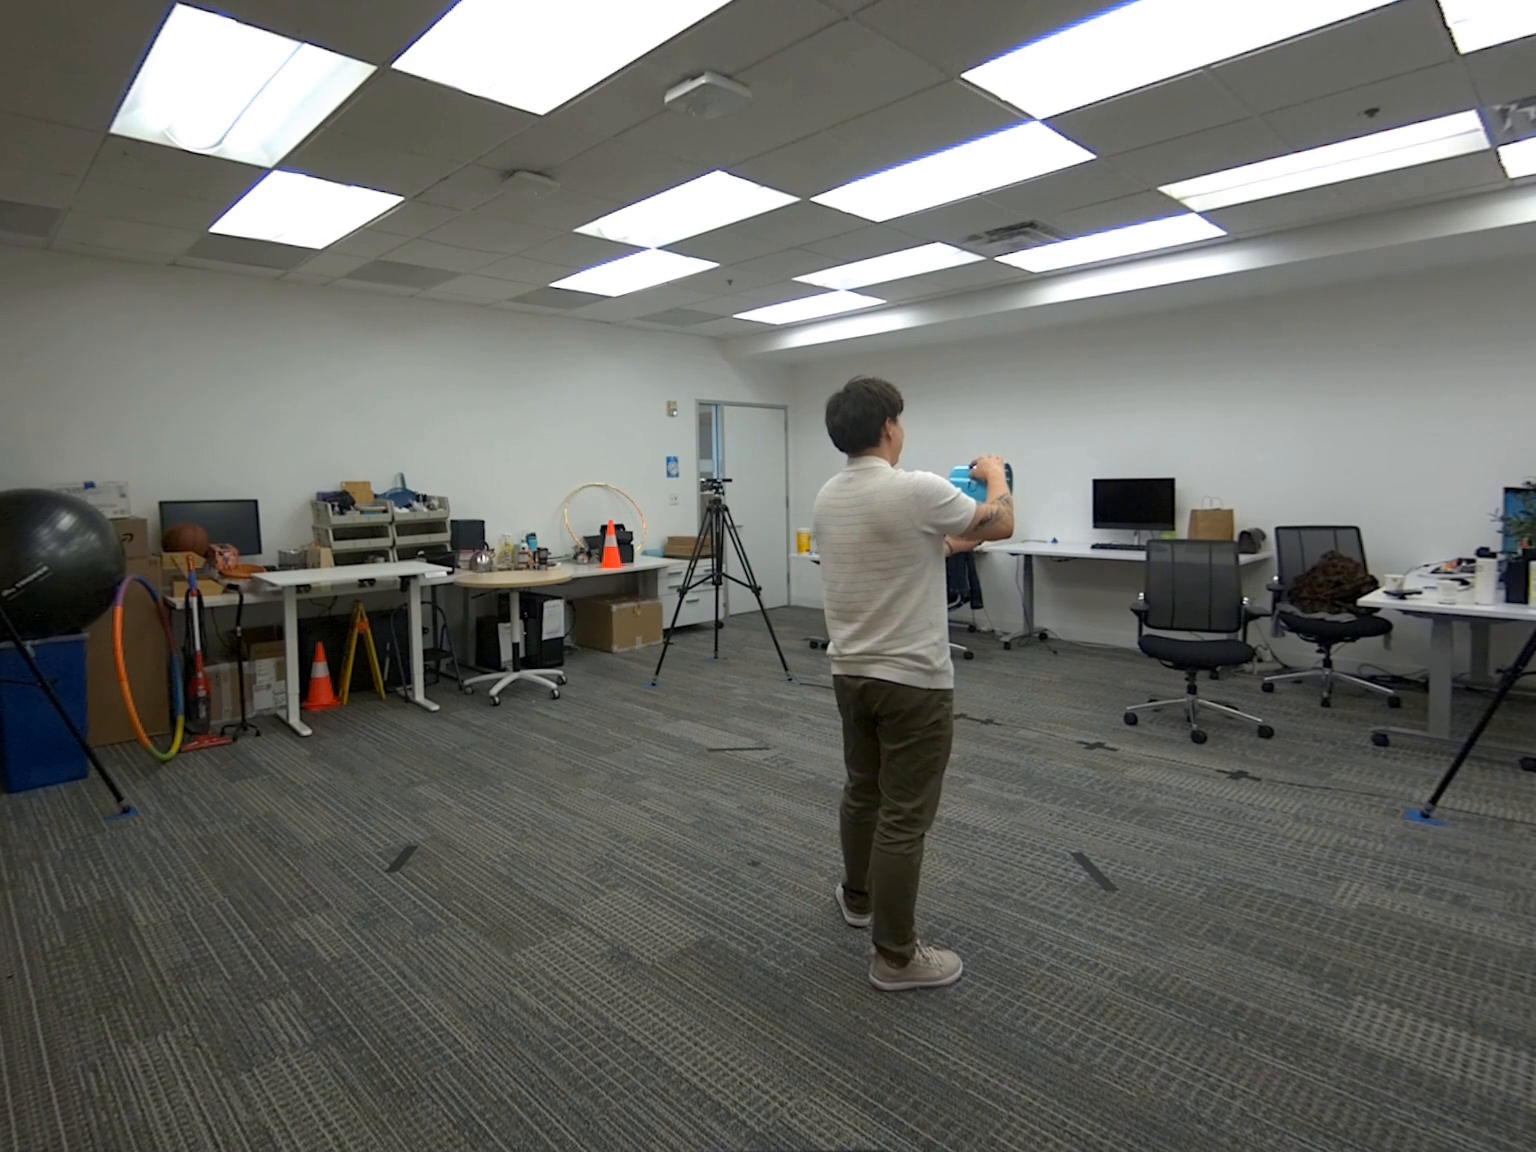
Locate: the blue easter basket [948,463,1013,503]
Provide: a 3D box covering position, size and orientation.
[{"bbox_3d":[0.673,-0.248,2.716,0.160,0.242,0.238,12,11,30],"label":"blue easter basket"}]
